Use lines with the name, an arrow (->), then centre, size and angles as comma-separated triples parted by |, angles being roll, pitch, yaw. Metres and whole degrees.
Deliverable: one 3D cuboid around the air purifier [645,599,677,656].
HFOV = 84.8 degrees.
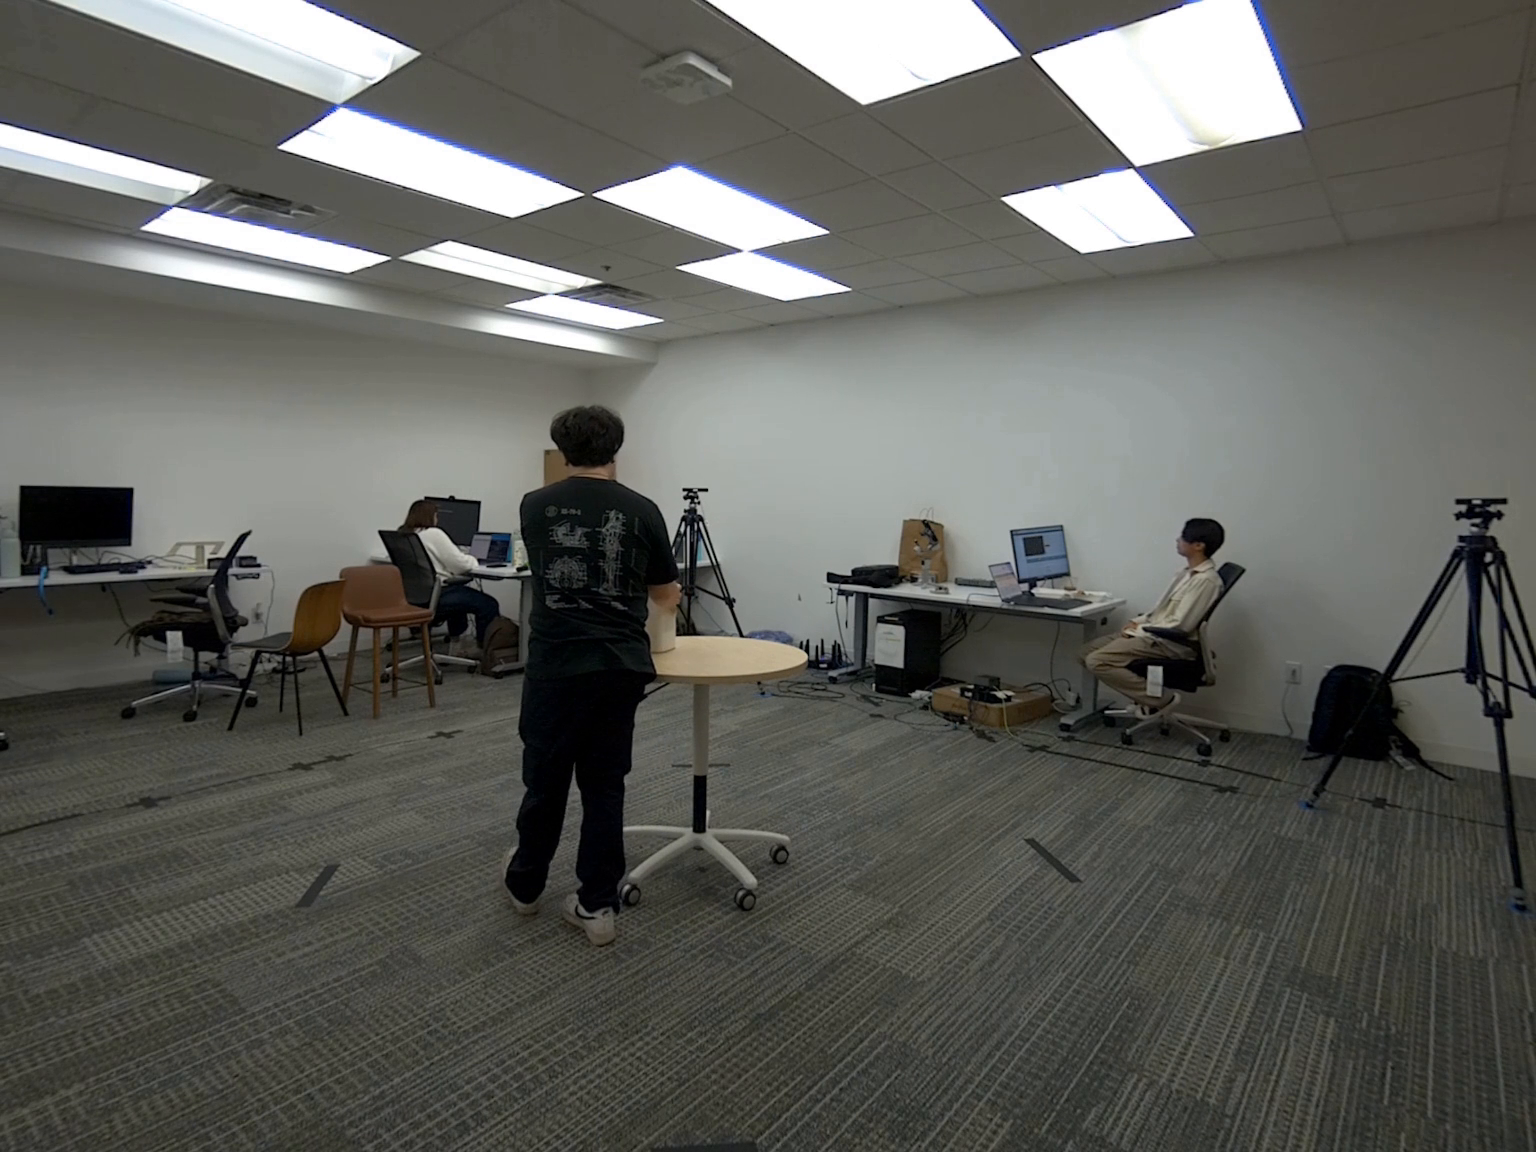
air purifier -> -0.448, 0.139, 3.156 | 0.175, 0.265, 0.168 | 1, 3, 20
